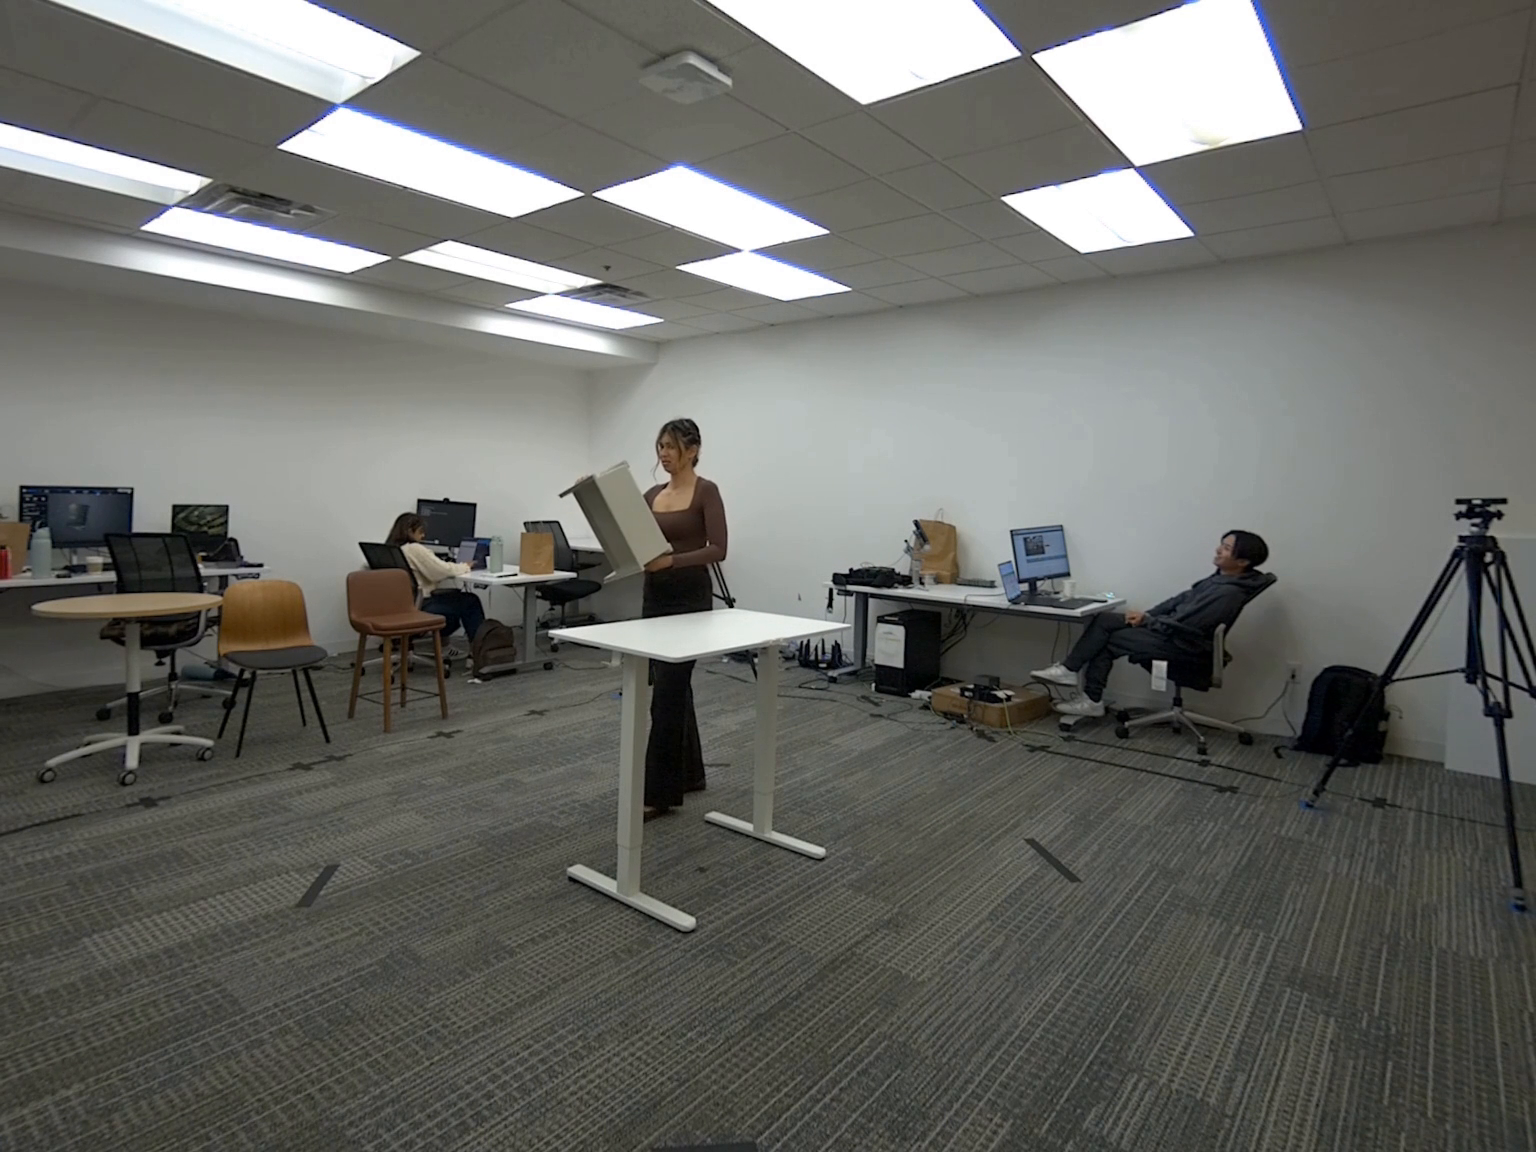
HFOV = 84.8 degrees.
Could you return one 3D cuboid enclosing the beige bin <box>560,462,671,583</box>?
[{"bbox_3d":[-0.650,-0.217,3.499,0.187,0.419,0.385,-32,9,-39],"label":"beige bin"}]
